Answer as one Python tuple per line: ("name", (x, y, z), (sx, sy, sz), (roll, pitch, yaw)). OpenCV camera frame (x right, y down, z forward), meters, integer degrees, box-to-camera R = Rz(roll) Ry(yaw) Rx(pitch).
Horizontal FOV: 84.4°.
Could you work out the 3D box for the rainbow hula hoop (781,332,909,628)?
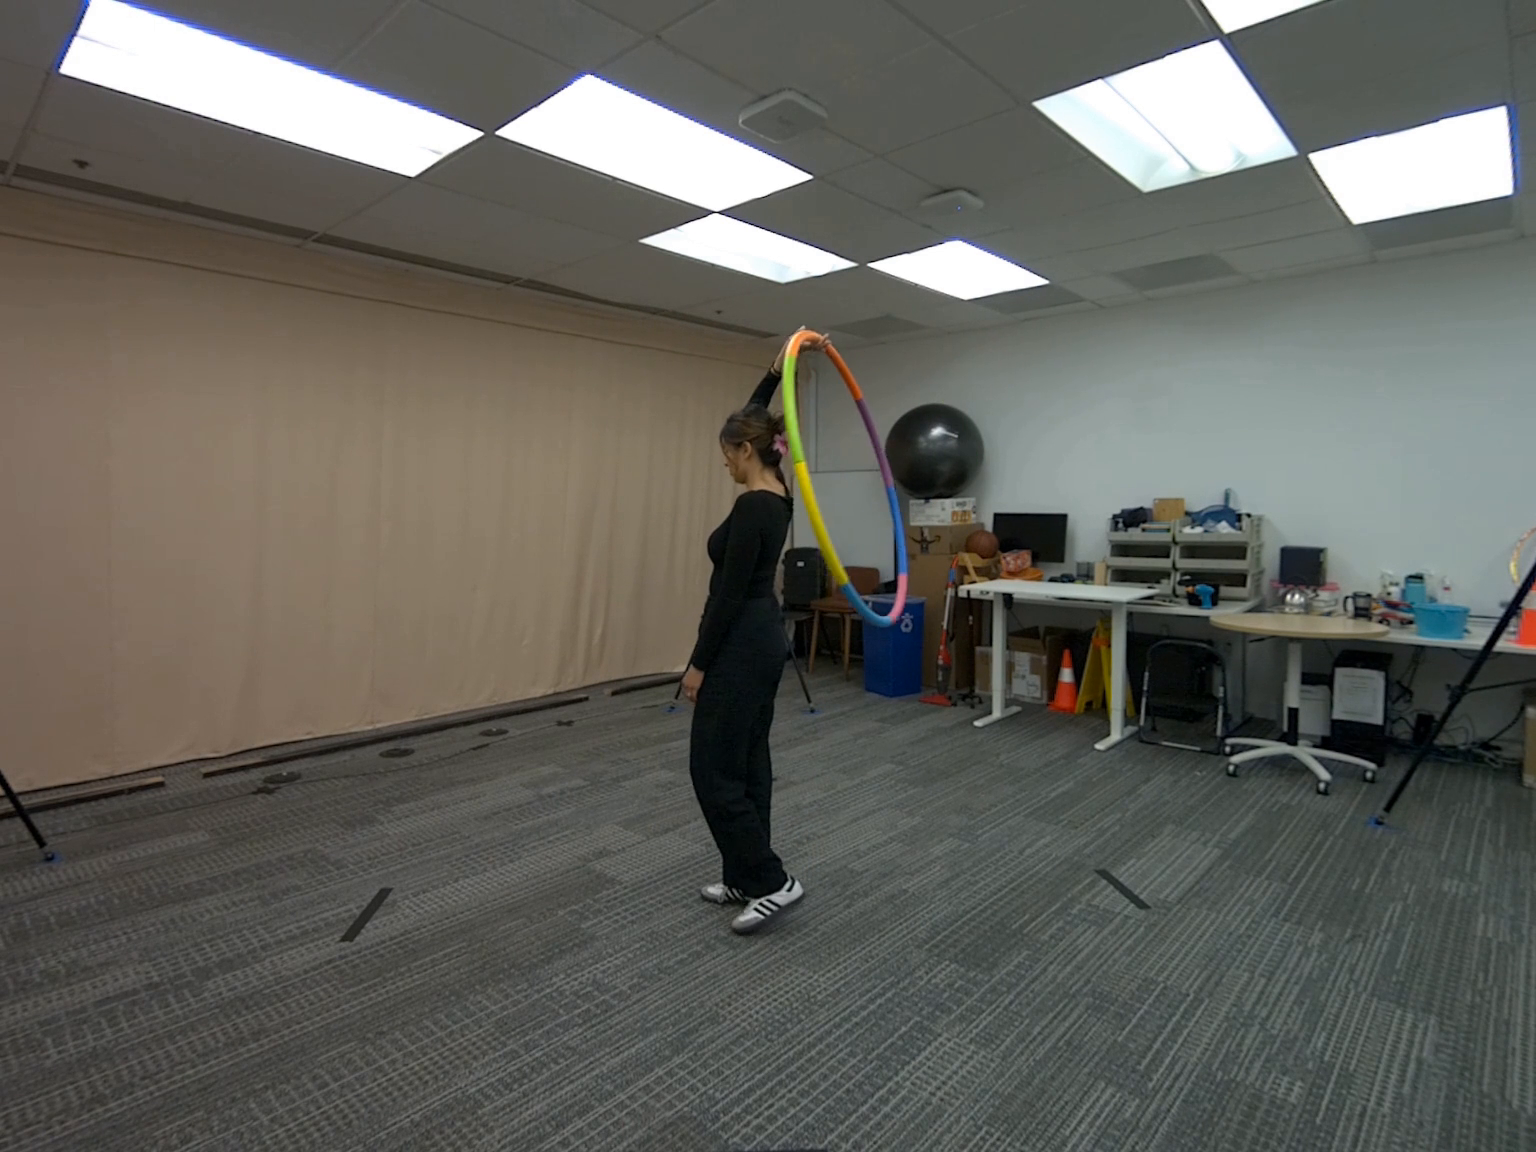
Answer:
("rainbow hula hoop", (0.269, -0.322, 2.768), (0.052, 0.988, 0.962), (-16, -3, 24))
